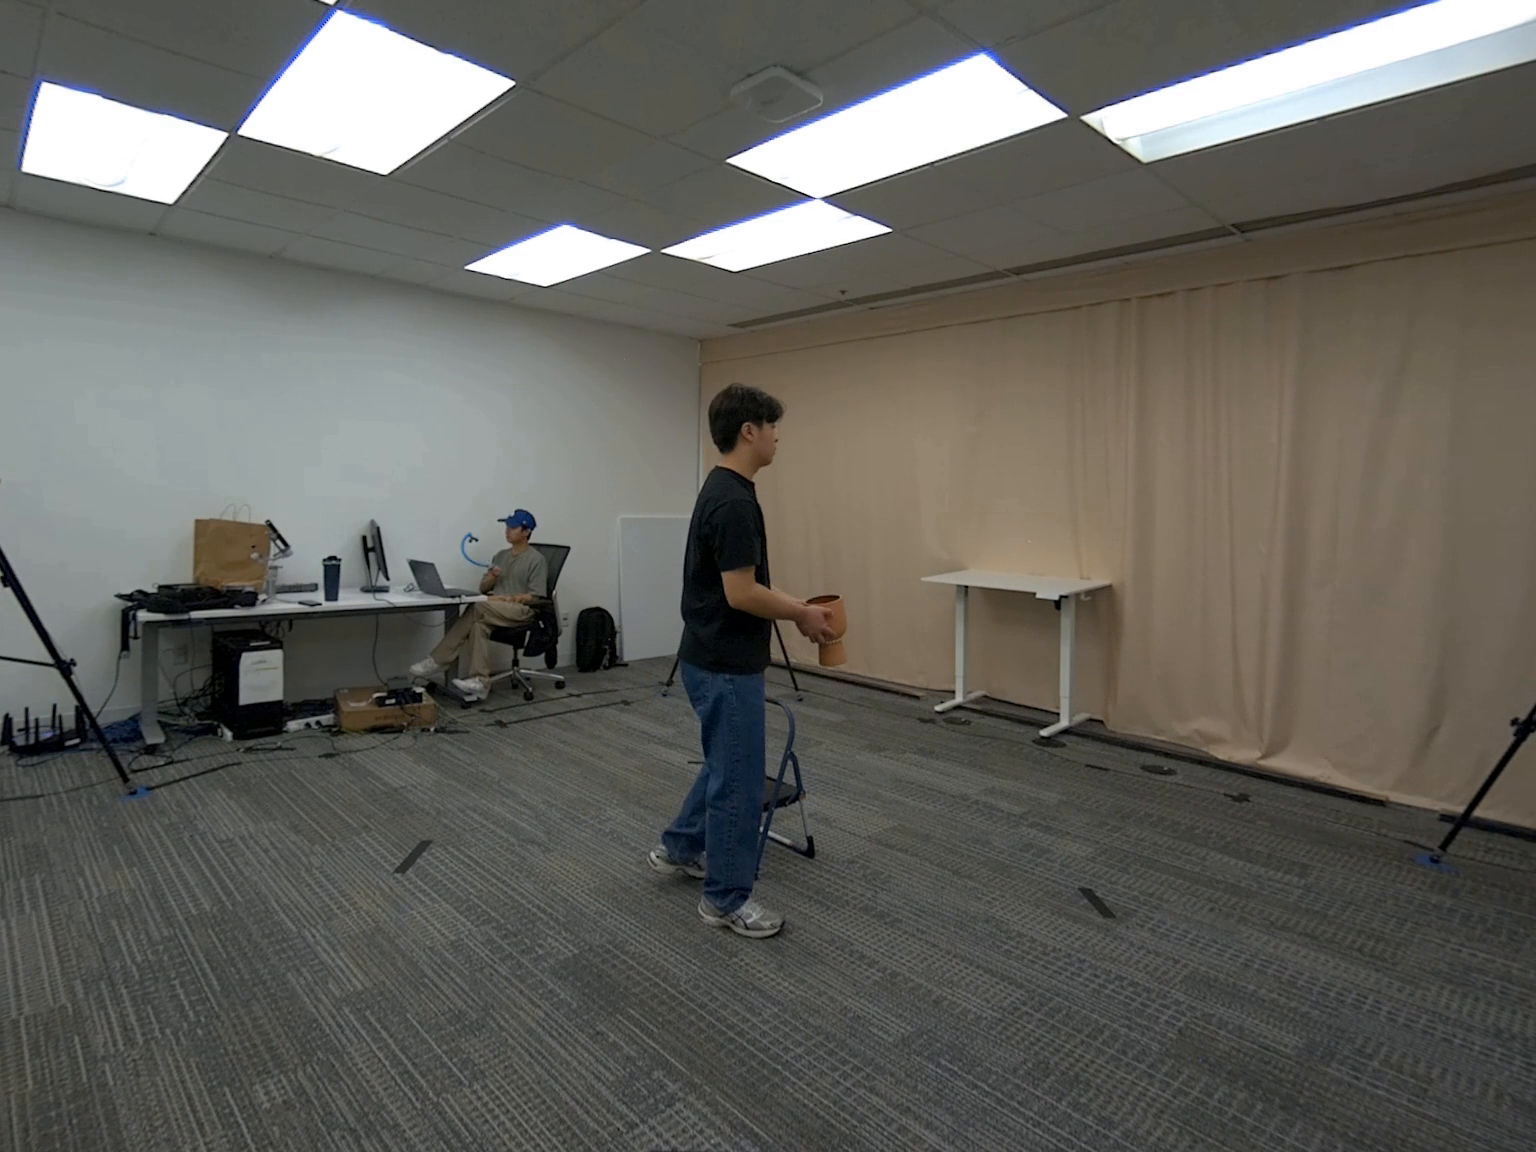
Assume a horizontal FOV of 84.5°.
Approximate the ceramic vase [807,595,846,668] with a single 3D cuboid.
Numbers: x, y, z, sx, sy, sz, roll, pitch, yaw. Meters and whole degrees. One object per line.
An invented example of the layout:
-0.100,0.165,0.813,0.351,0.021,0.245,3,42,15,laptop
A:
0.192,0.186,2.835,0.156,0.218,0.138,-19,13,-42,ceramic vase
